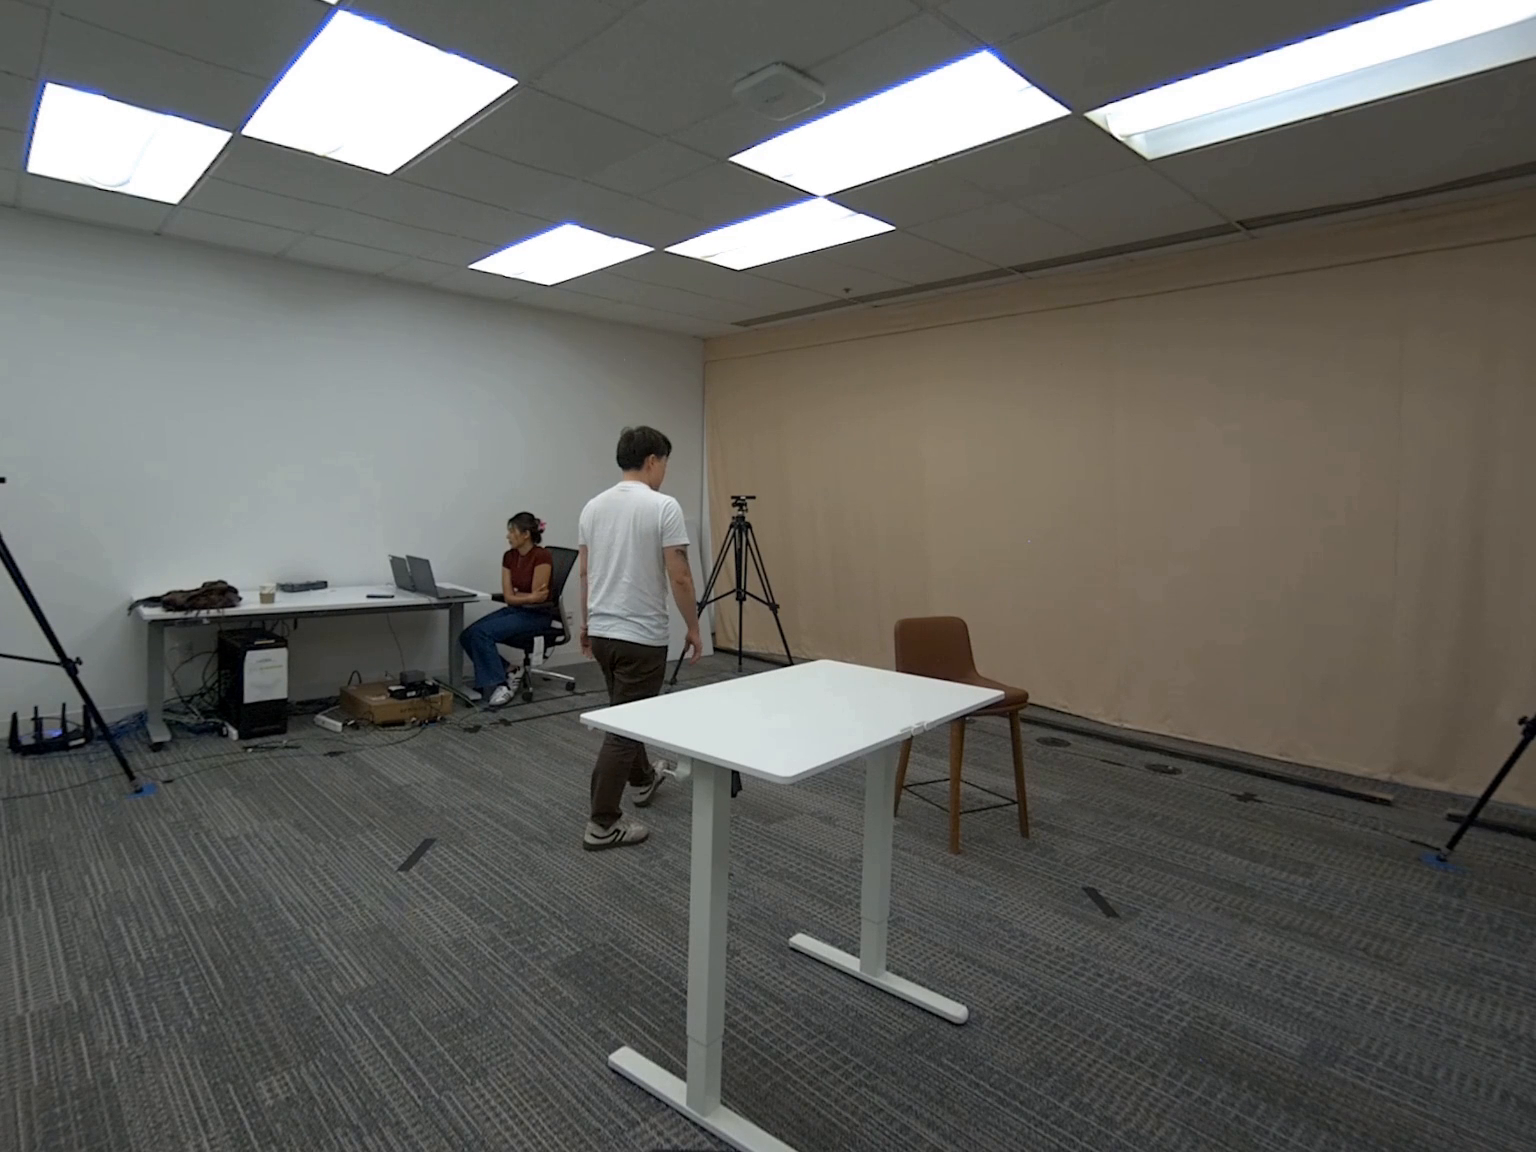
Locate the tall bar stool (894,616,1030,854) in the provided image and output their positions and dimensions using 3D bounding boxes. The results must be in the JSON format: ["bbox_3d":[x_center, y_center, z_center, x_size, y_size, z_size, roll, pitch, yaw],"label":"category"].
[{"bbox_3d":[0.807,0.644,3.616,0.448,0.889,0.477,0,2,-27],"label":"tall bar stool"}]
